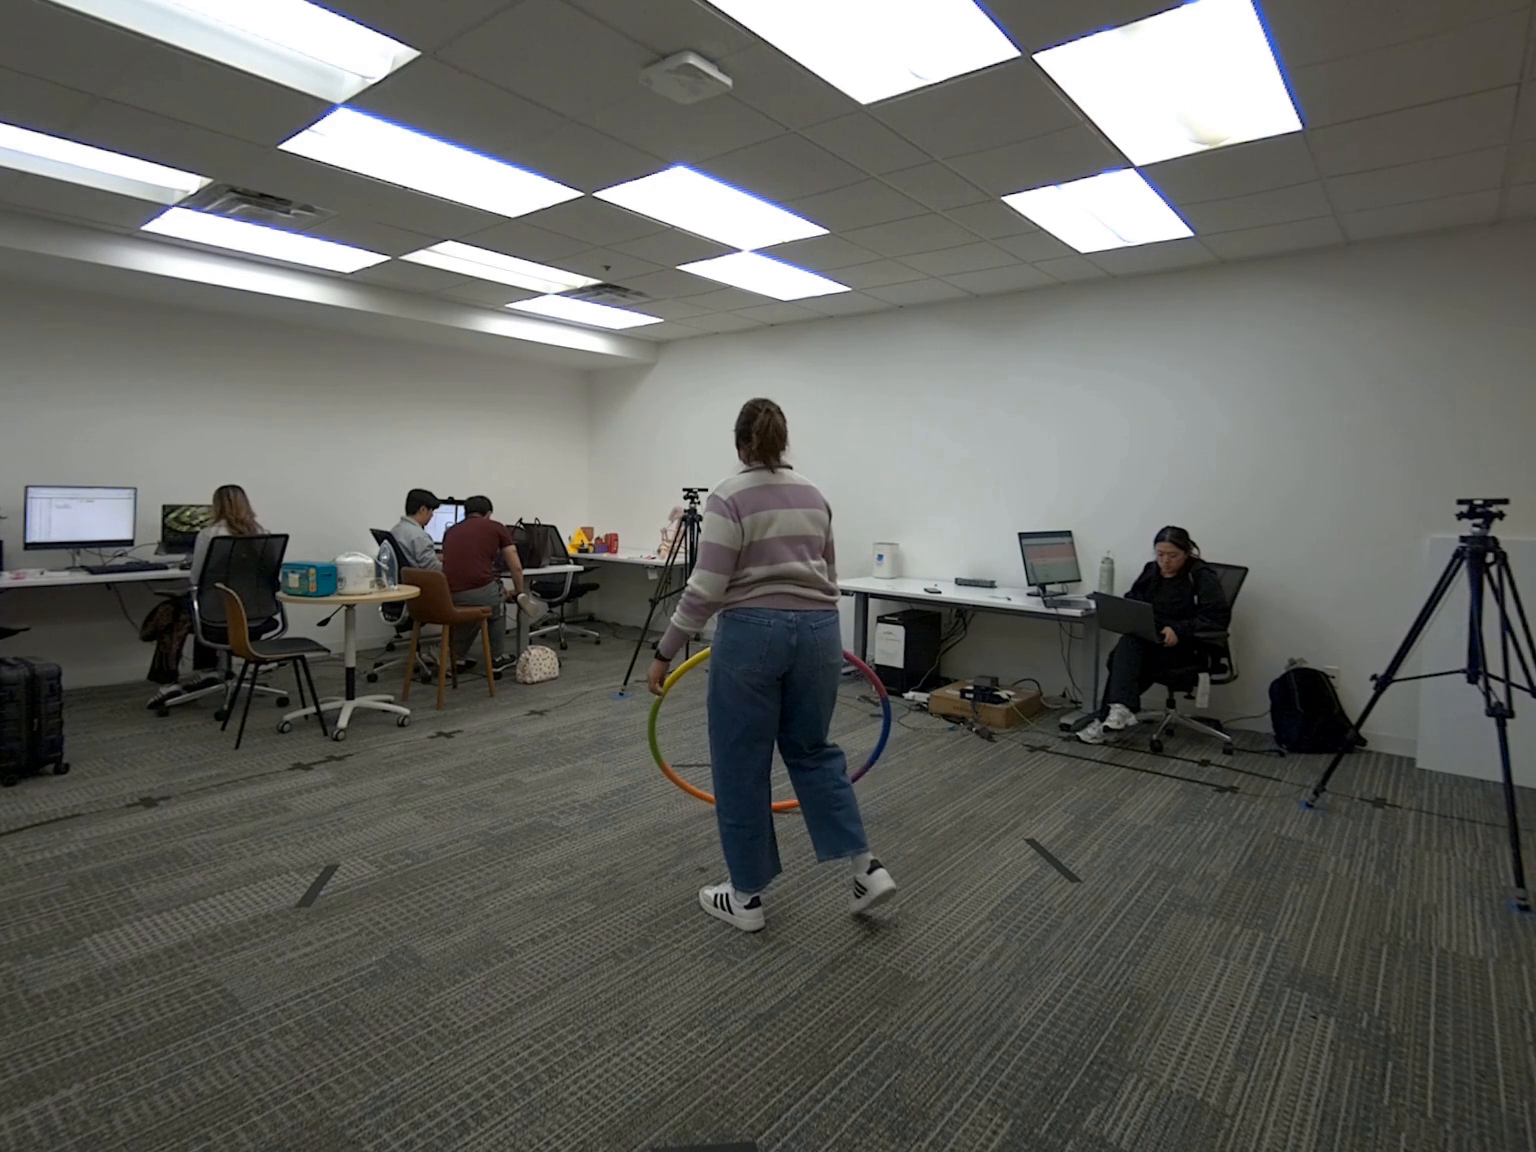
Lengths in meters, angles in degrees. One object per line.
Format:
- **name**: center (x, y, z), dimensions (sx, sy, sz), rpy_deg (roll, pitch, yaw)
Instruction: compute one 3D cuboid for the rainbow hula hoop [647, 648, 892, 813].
- **rainbow hula hoop**: center (-0.007, 0.619, 3.431), dimensions (0.983, 0.961, 0.053), rpy_deg (2, 33, -2)
